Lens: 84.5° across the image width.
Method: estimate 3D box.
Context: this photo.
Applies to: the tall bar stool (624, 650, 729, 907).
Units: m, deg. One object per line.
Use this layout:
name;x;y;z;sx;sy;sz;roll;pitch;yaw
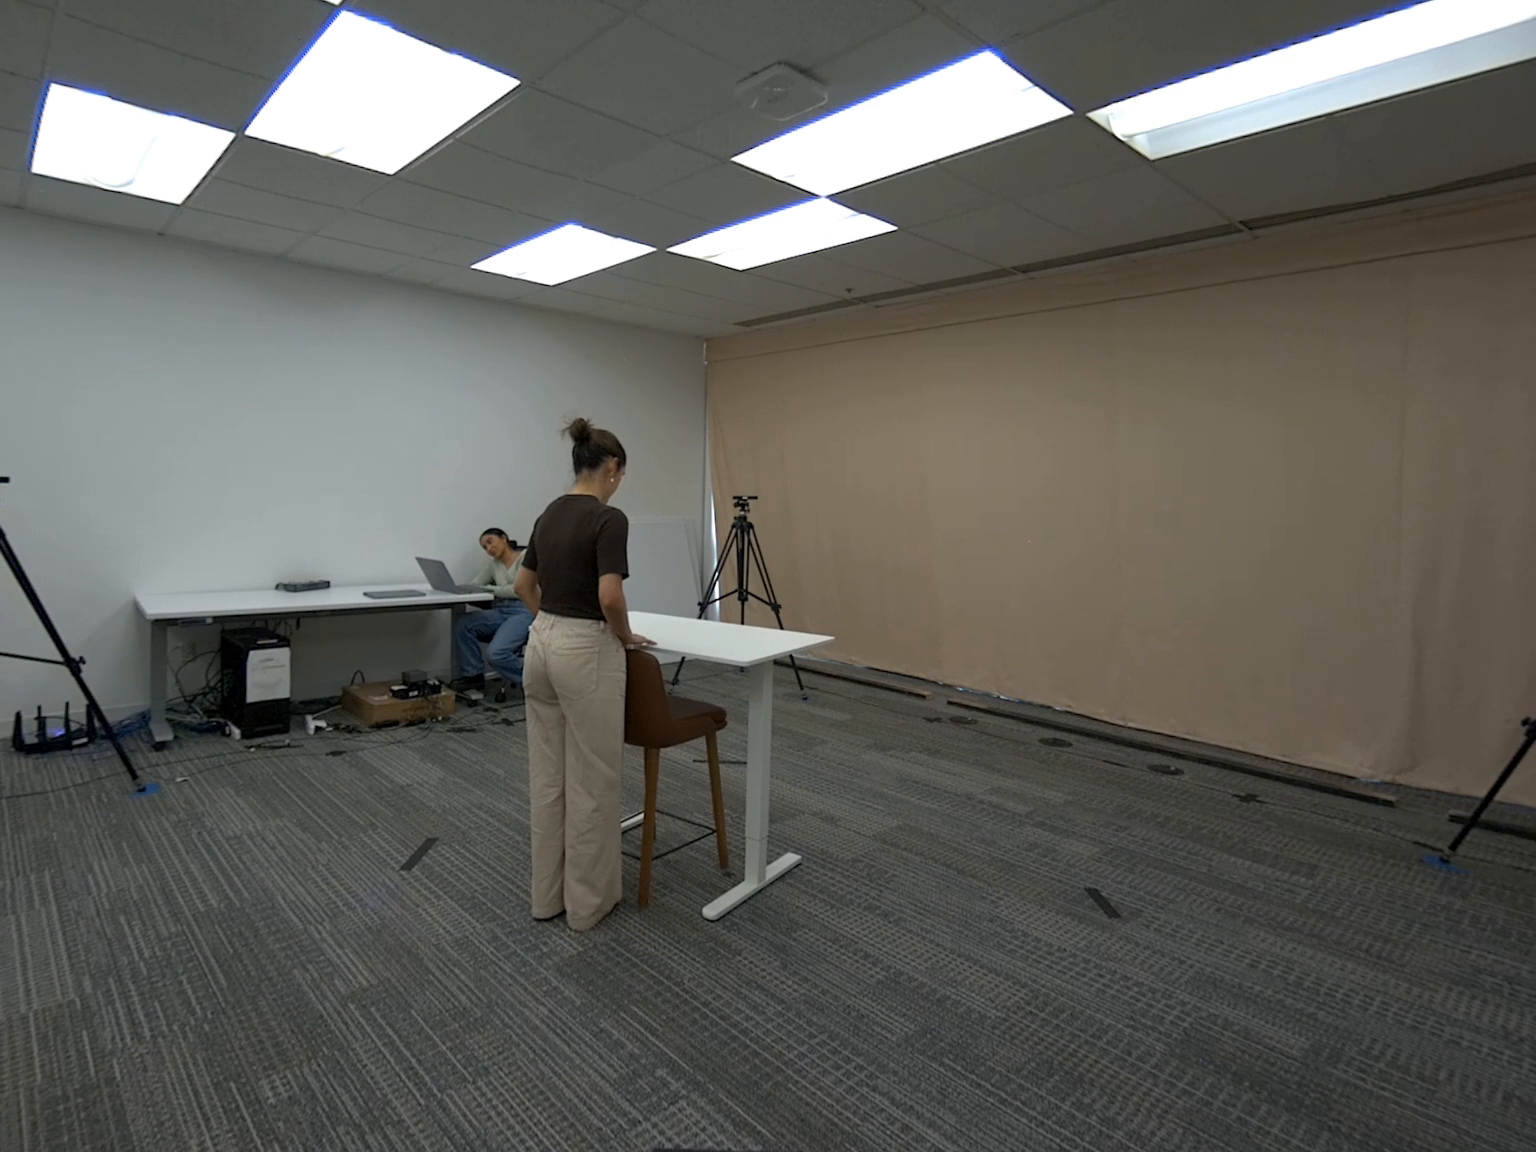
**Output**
tall bar stool;-0.440;0.664;3.088;0.468;0.886;0.458;4;7;37
